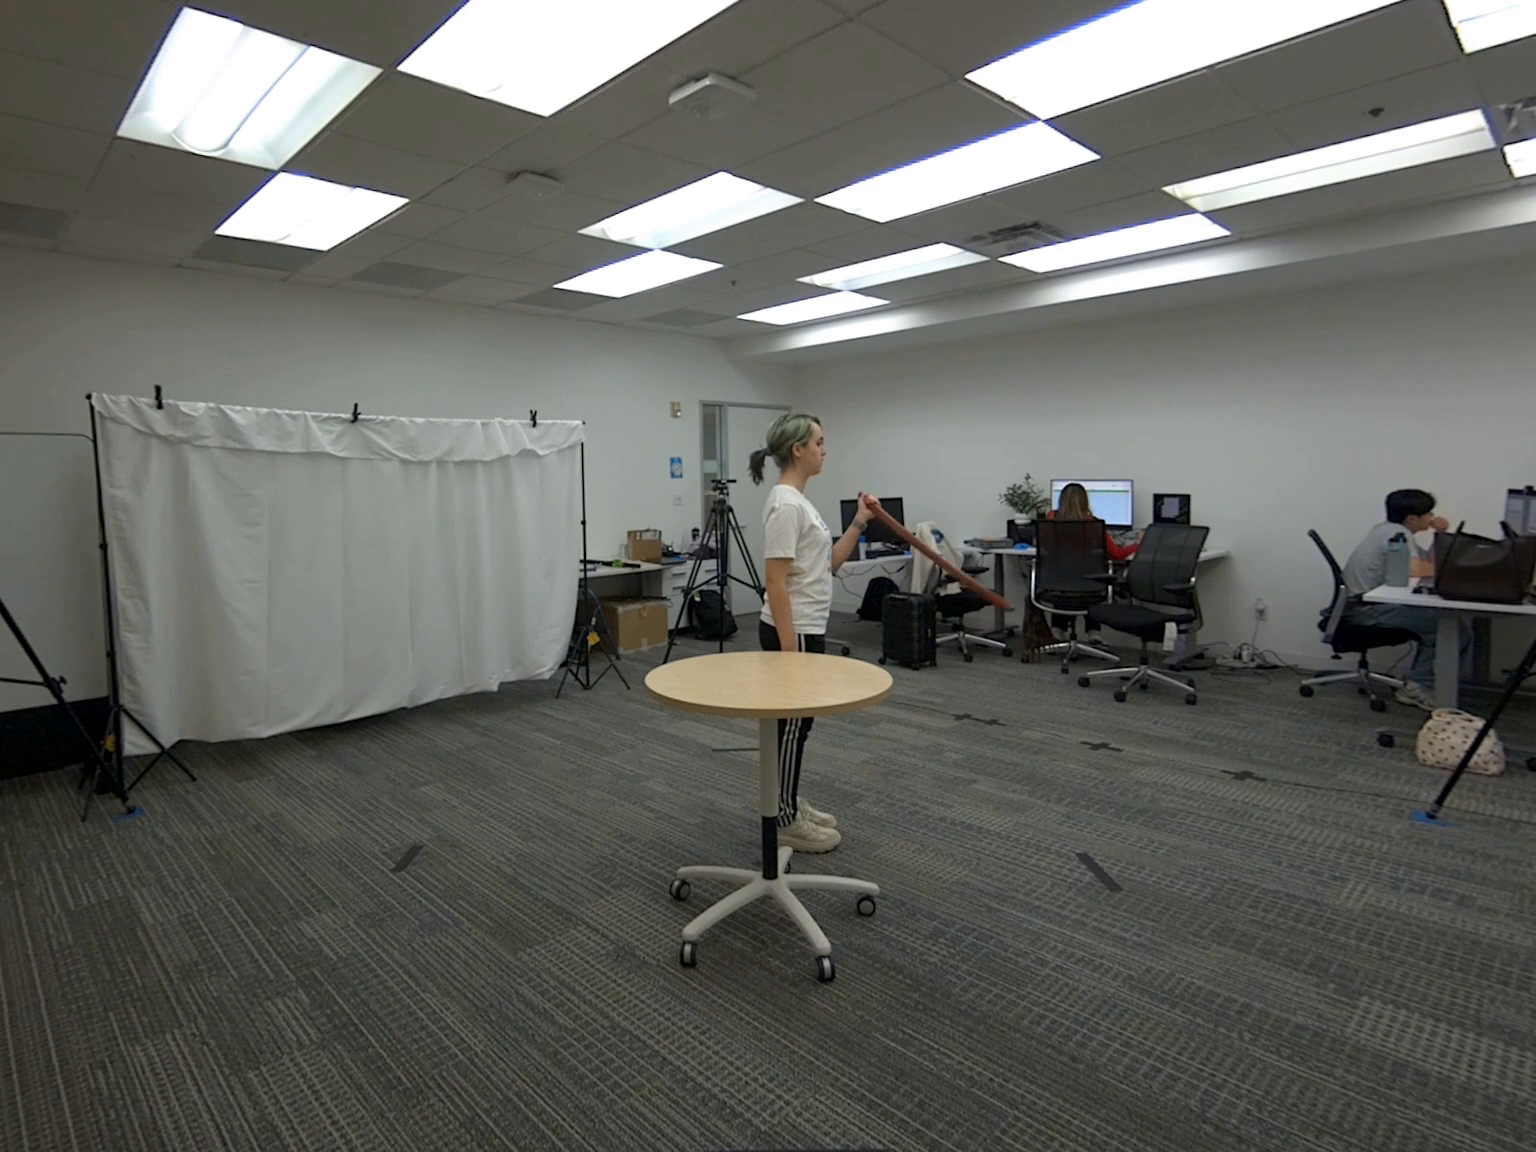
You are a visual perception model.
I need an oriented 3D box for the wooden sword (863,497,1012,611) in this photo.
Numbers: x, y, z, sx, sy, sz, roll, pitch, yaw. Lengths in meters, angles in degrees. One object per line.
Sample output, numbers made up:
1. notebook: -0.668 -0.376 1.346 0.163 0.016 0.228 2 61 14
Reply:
1. wooden sword: 0.574 -0.079 3.032 0.049 0.024 1.061 35 10 -31
